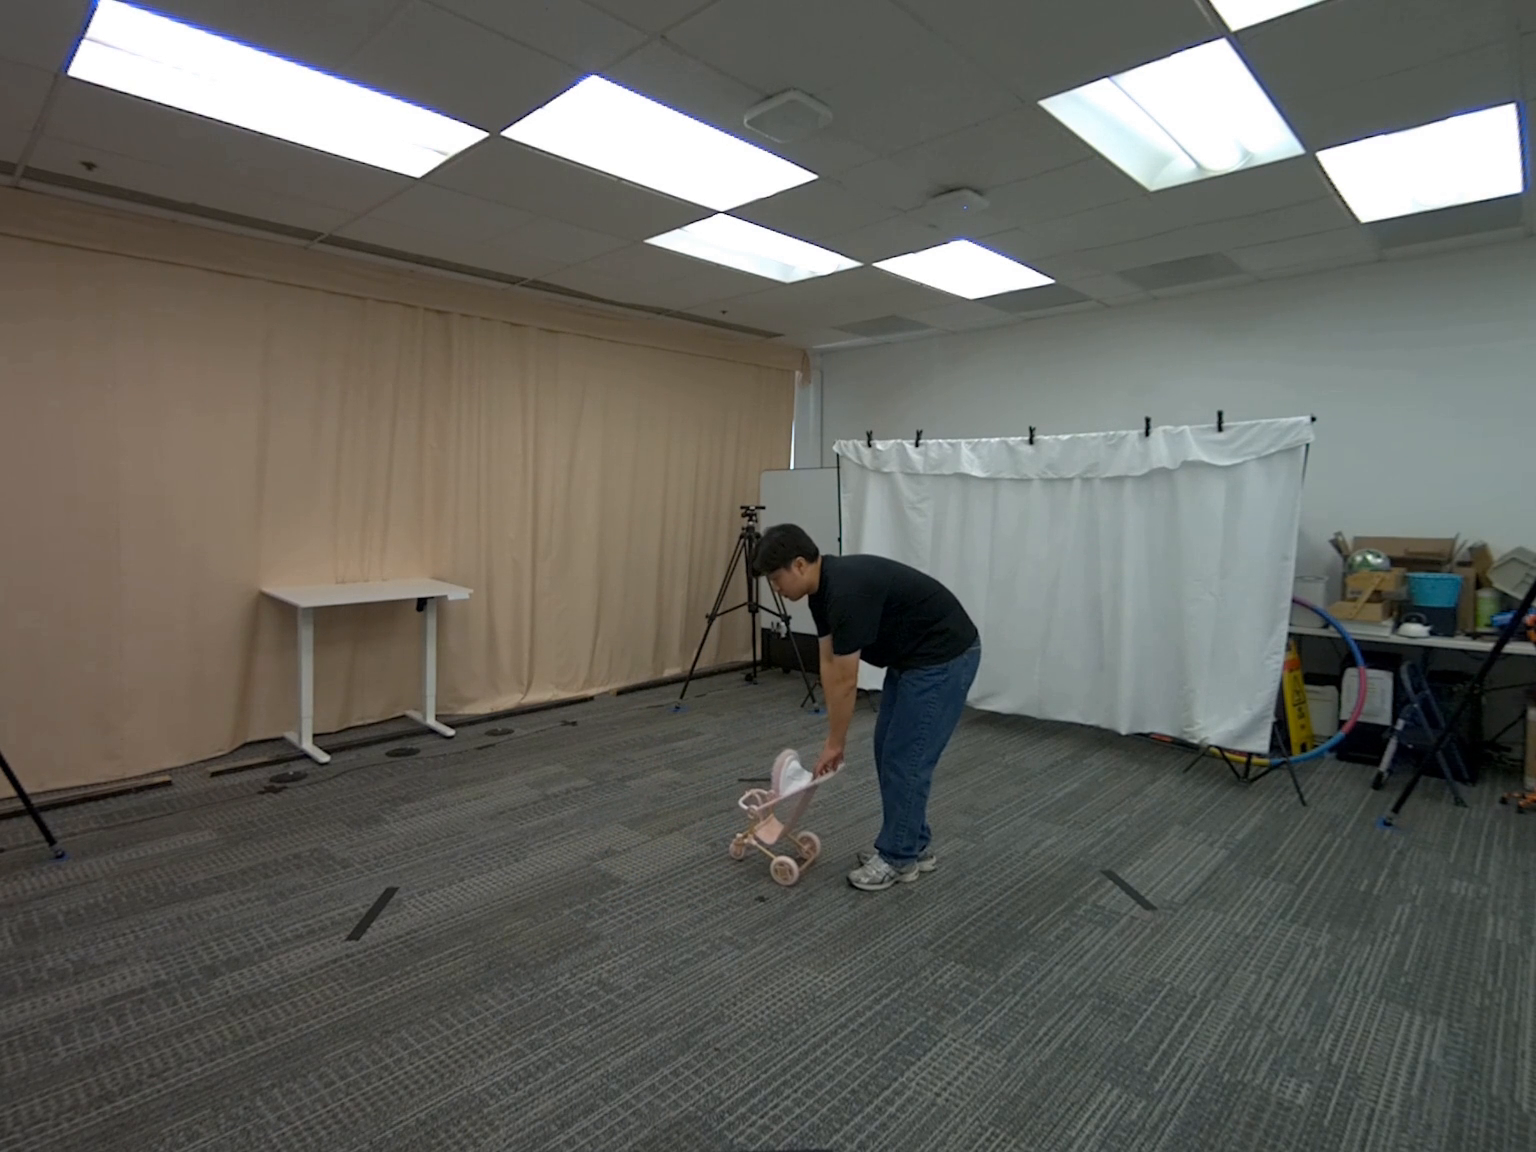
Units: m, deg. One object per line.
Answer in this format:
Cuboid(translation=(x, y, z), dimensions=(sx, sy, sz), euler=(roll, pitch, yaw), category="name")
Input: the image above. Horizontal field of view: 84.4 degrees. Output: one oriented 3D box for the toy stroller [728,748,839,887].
Cuboid(translation=(0.056, 0.904, 3.225), dimensions=(0.352, 0.533, 0.274), euler=(20, 12, 28), category="toy stroller")
